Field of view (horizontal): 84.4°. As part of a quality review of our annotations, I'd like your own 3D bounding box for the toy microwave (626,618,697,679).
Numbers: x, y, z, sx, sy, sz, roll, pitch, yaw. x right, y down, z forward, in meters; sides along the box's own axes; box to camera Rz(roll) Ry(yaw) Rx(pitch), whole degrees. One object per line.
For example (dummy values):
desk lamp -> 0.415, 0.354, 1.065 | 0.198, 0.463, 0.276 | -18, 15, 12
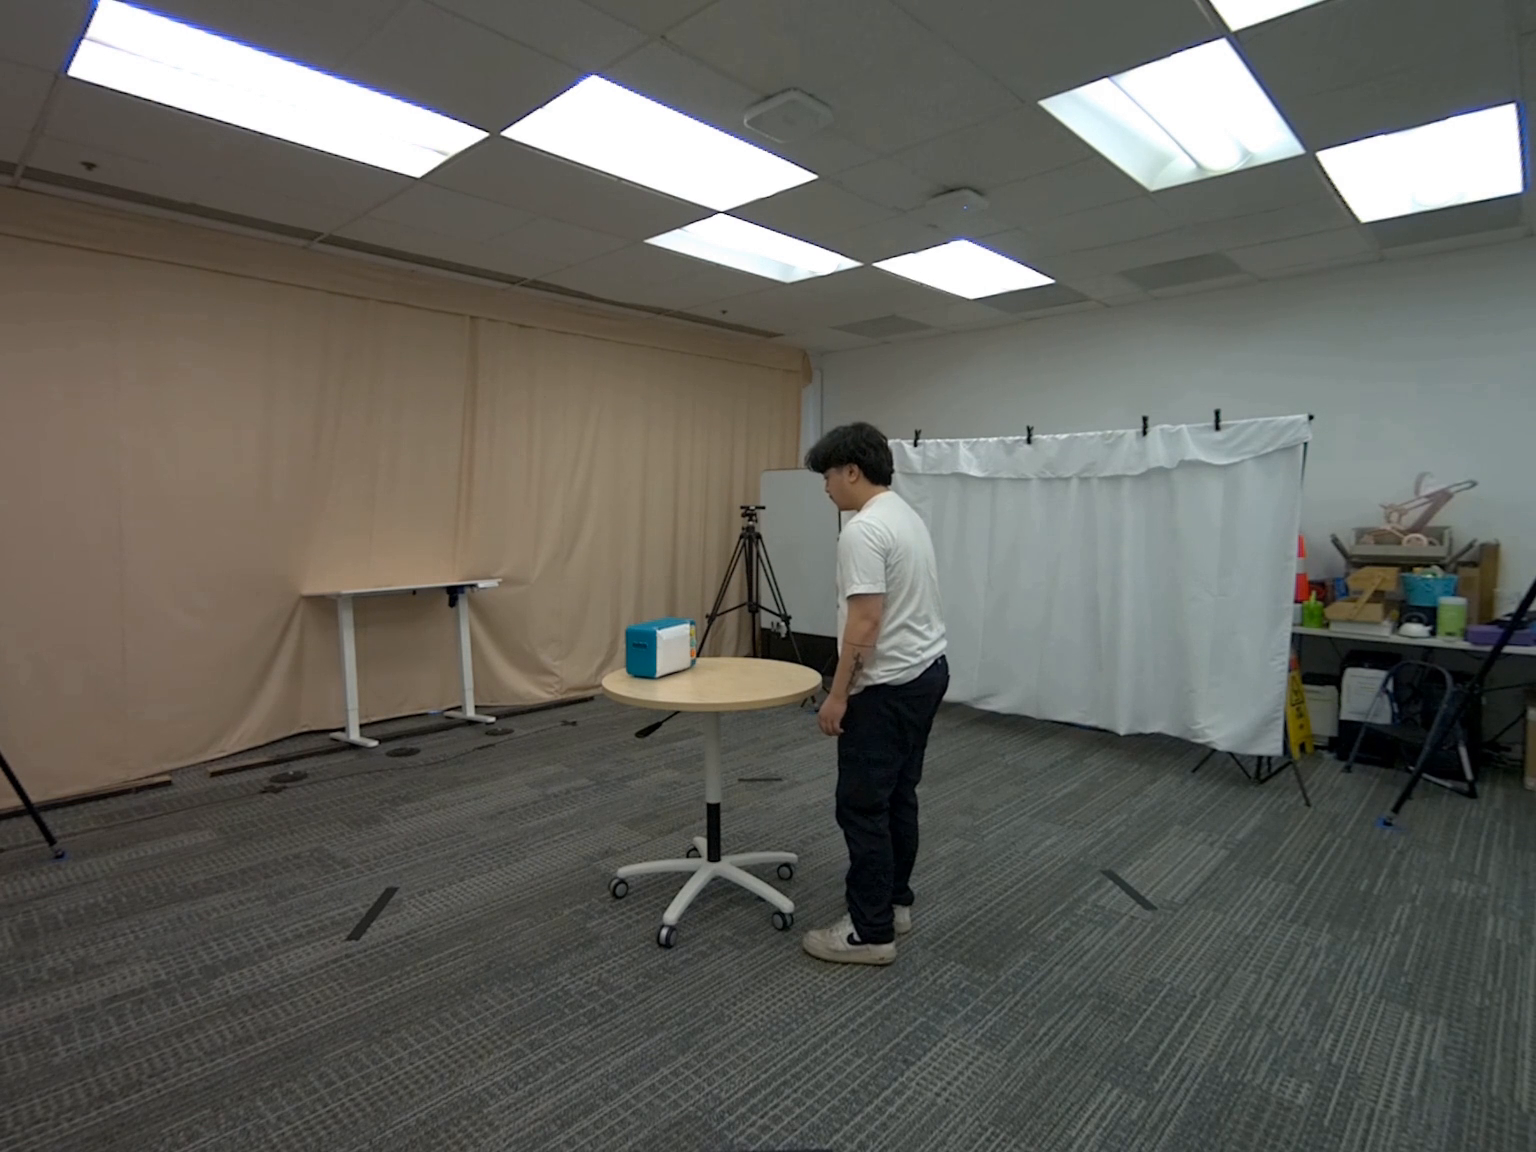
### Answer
toy microwave -> -0.373, 0.258, 3.045 | 0.157, 0.184, 0.279 | 2, 5, 29
